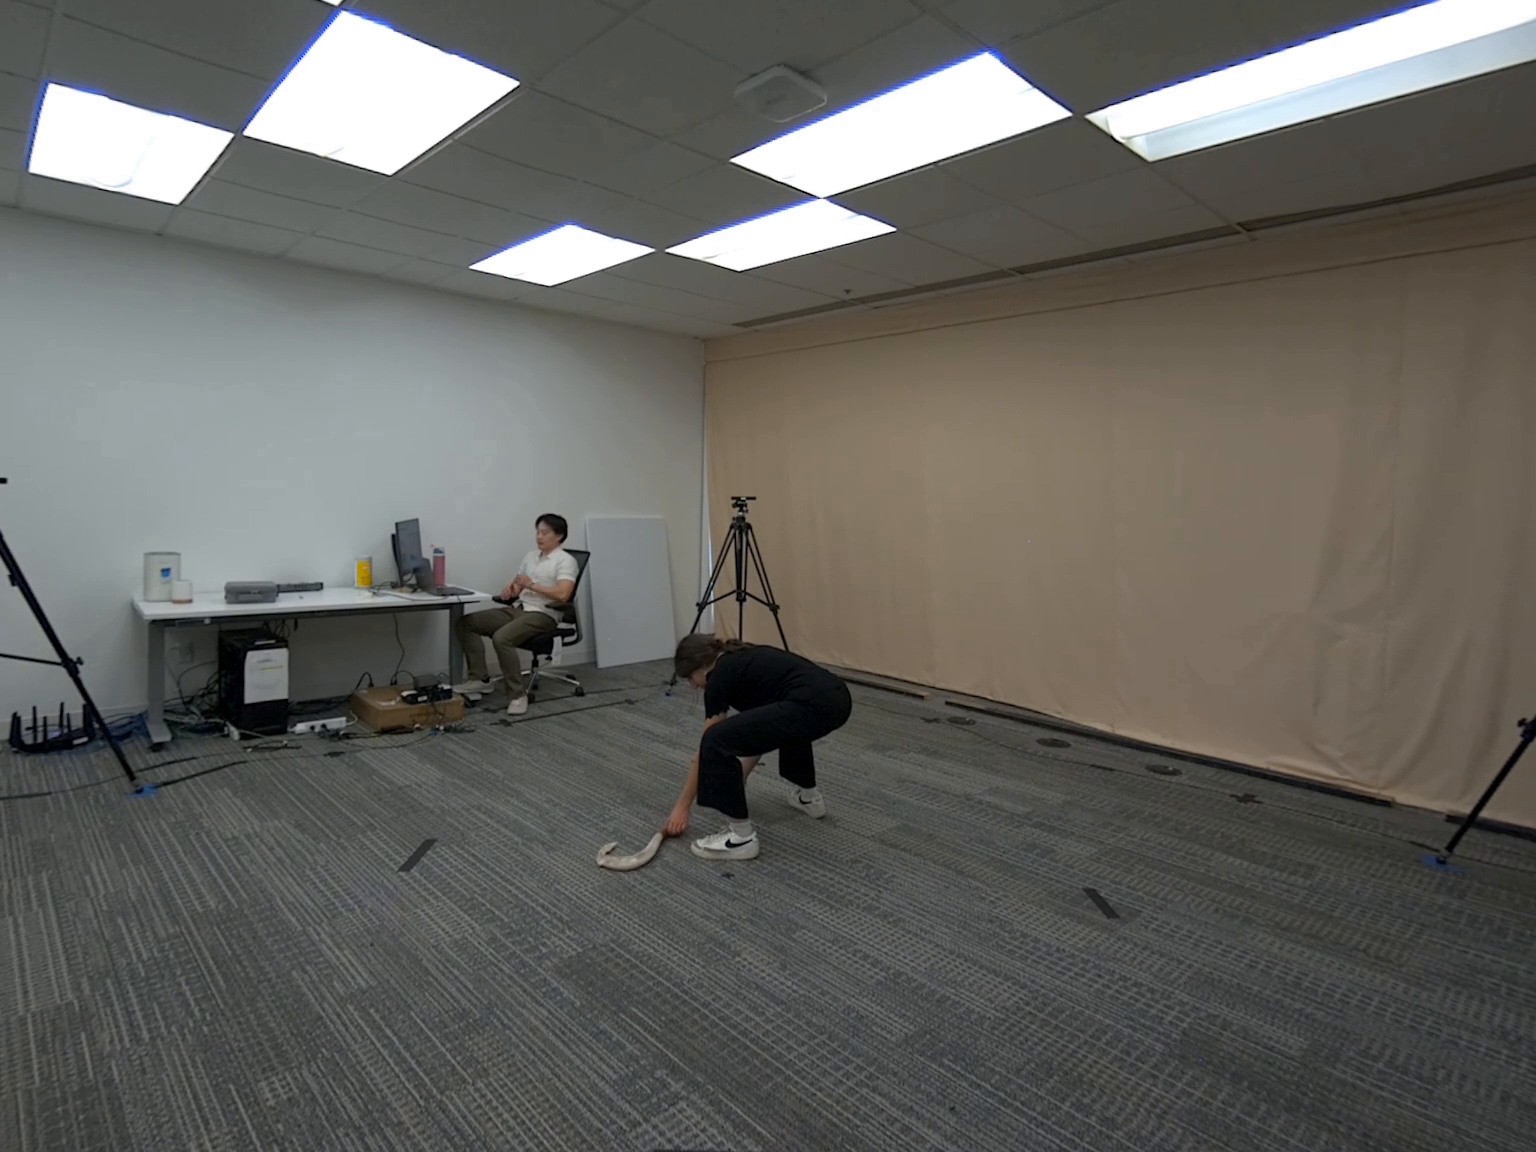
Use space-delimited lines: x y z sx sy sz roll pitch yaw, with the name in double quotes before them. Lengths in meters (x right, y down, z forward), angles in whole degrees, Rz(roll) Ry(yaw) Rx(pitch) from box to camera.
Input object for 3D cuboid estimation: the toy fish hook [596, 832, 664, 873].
"toy fish hook" -0.509 1.054 3.364 0.228 0.048 0.499 4 5 21
